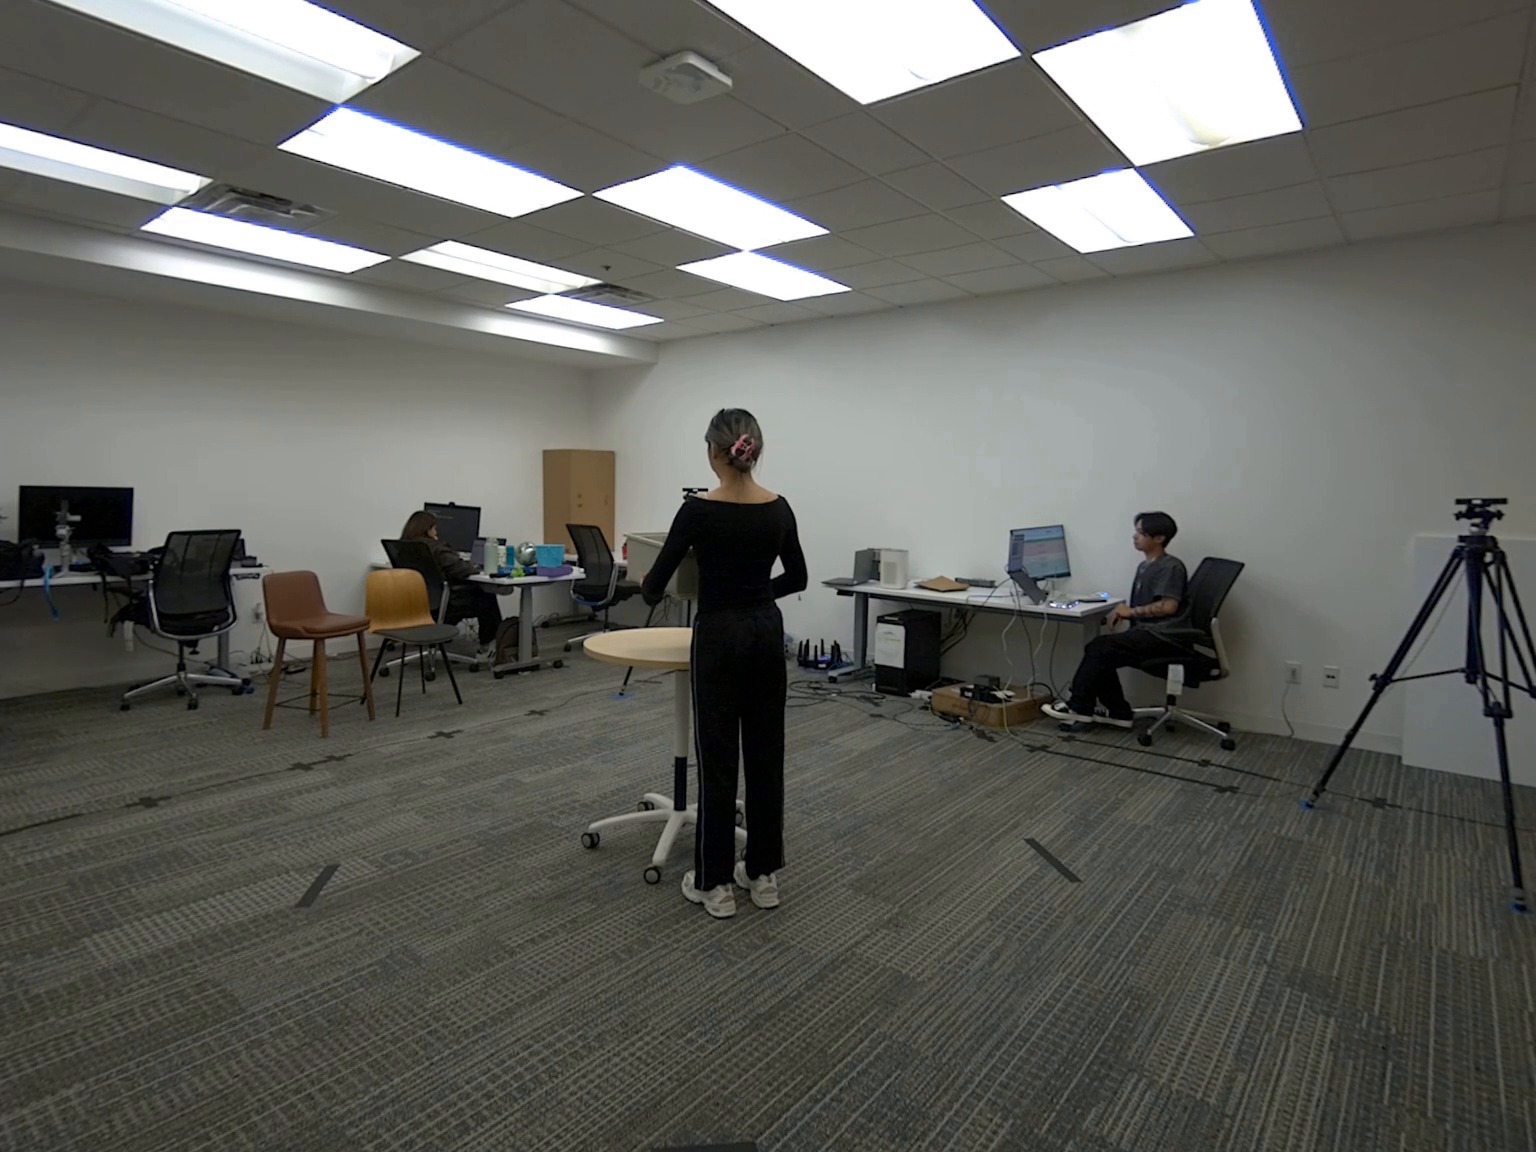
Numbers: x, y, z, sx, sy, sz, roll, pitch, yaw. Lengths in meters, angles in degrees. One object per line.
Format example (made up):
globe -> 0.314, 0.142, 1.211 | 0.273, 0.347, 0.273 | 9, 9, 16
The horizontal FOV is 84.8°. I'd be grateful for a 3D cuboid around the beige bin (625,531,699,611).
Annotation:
beige bin -> -0.280, -0.050, 3.131 | 0.367, 0.187, 0.437 | -4, 11, -34
